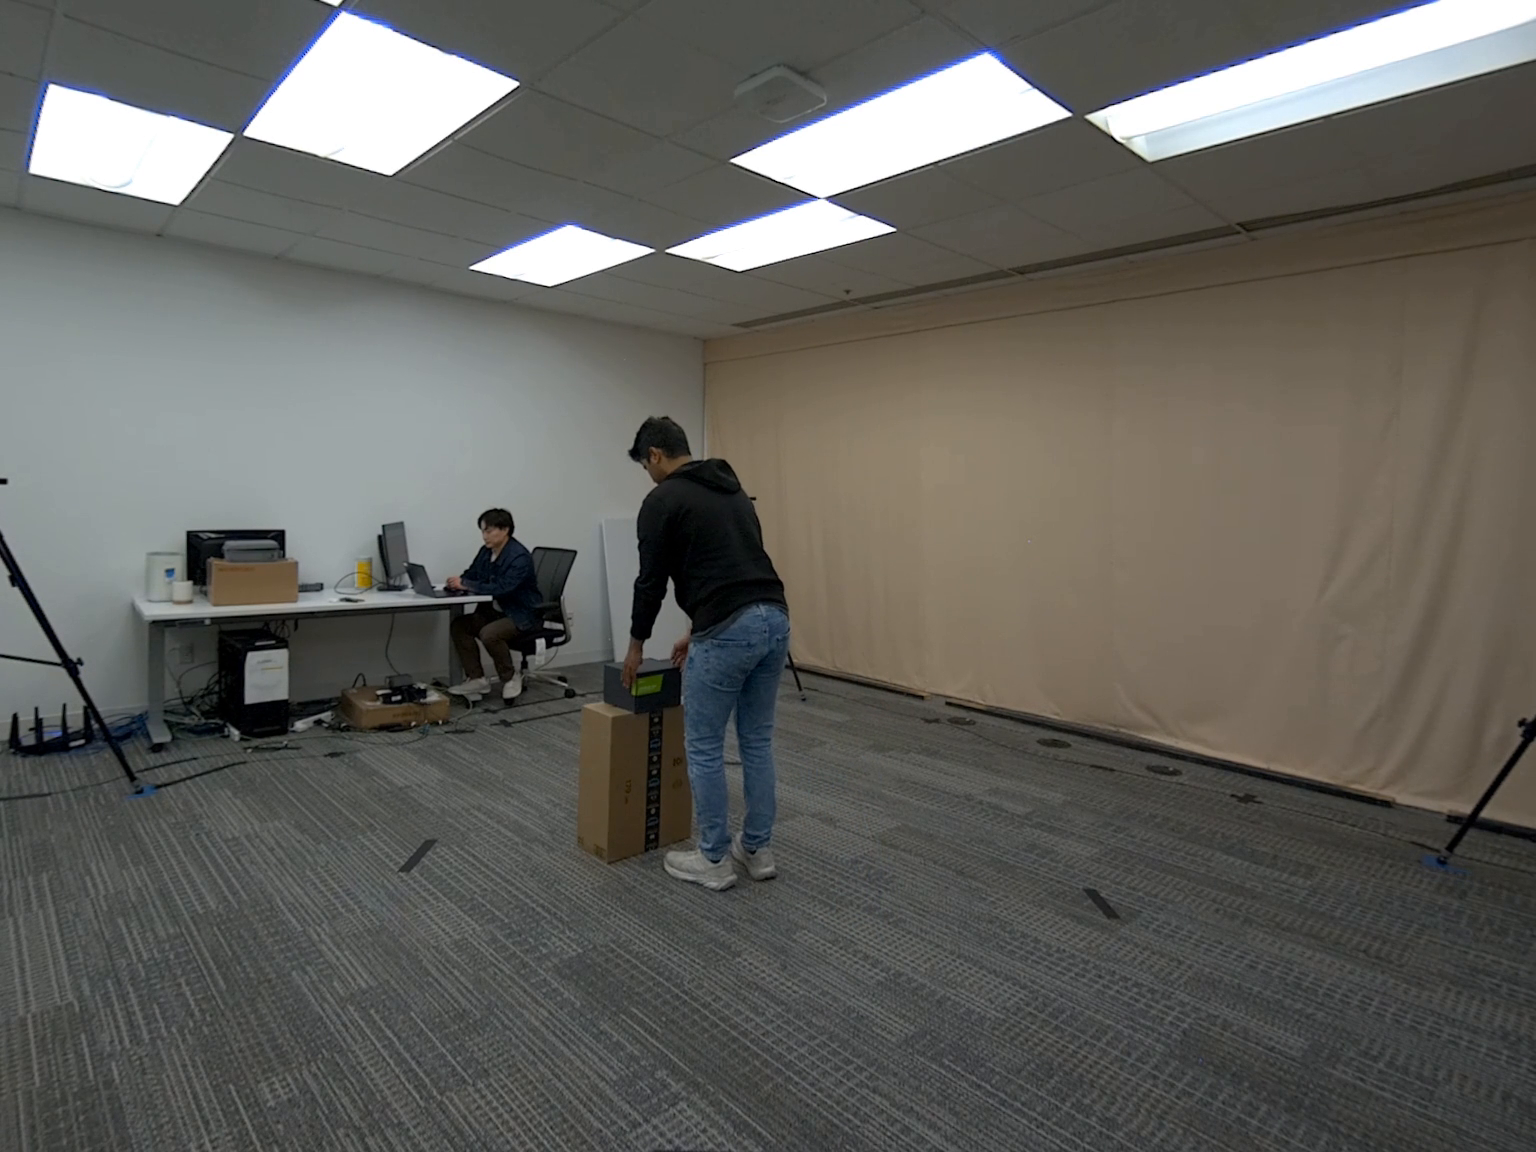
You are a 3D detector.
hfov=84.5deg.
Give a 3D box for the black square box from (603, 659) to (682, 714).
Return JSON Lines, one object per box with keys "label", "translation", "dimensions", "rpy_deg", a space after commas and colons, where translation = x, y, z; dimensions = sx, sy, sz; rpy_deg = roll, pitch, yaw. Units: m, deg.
{"label": "black square box", "translation": [-0.504, 0.428, 3.353], "dimensions": [0.223, 0.155, 0.223], "rpy_deg": [7, 7, 44]}
